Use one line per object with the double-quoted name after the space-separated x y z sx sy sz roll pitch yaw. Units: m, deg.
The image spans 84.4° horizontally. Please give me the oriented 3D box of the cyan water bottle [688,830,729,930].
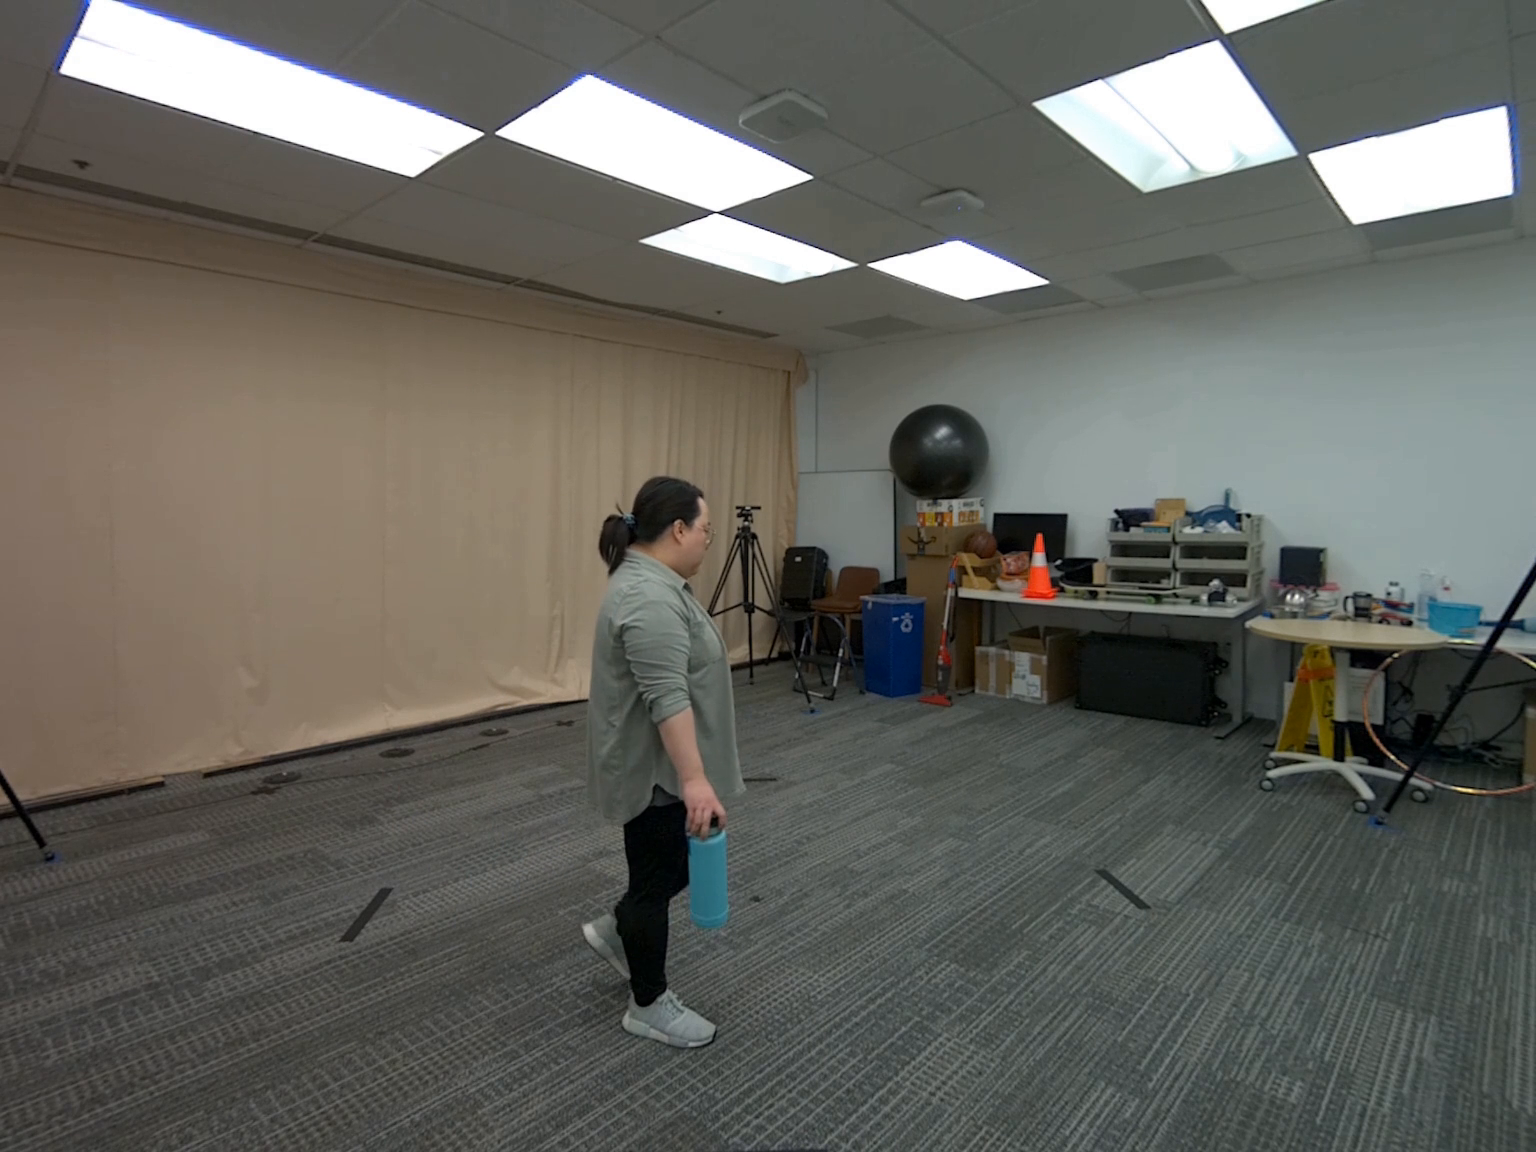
-0.147 0.674 1.975 0.092 0.282 0.093 0 8 -2 "cyan water bottle"
